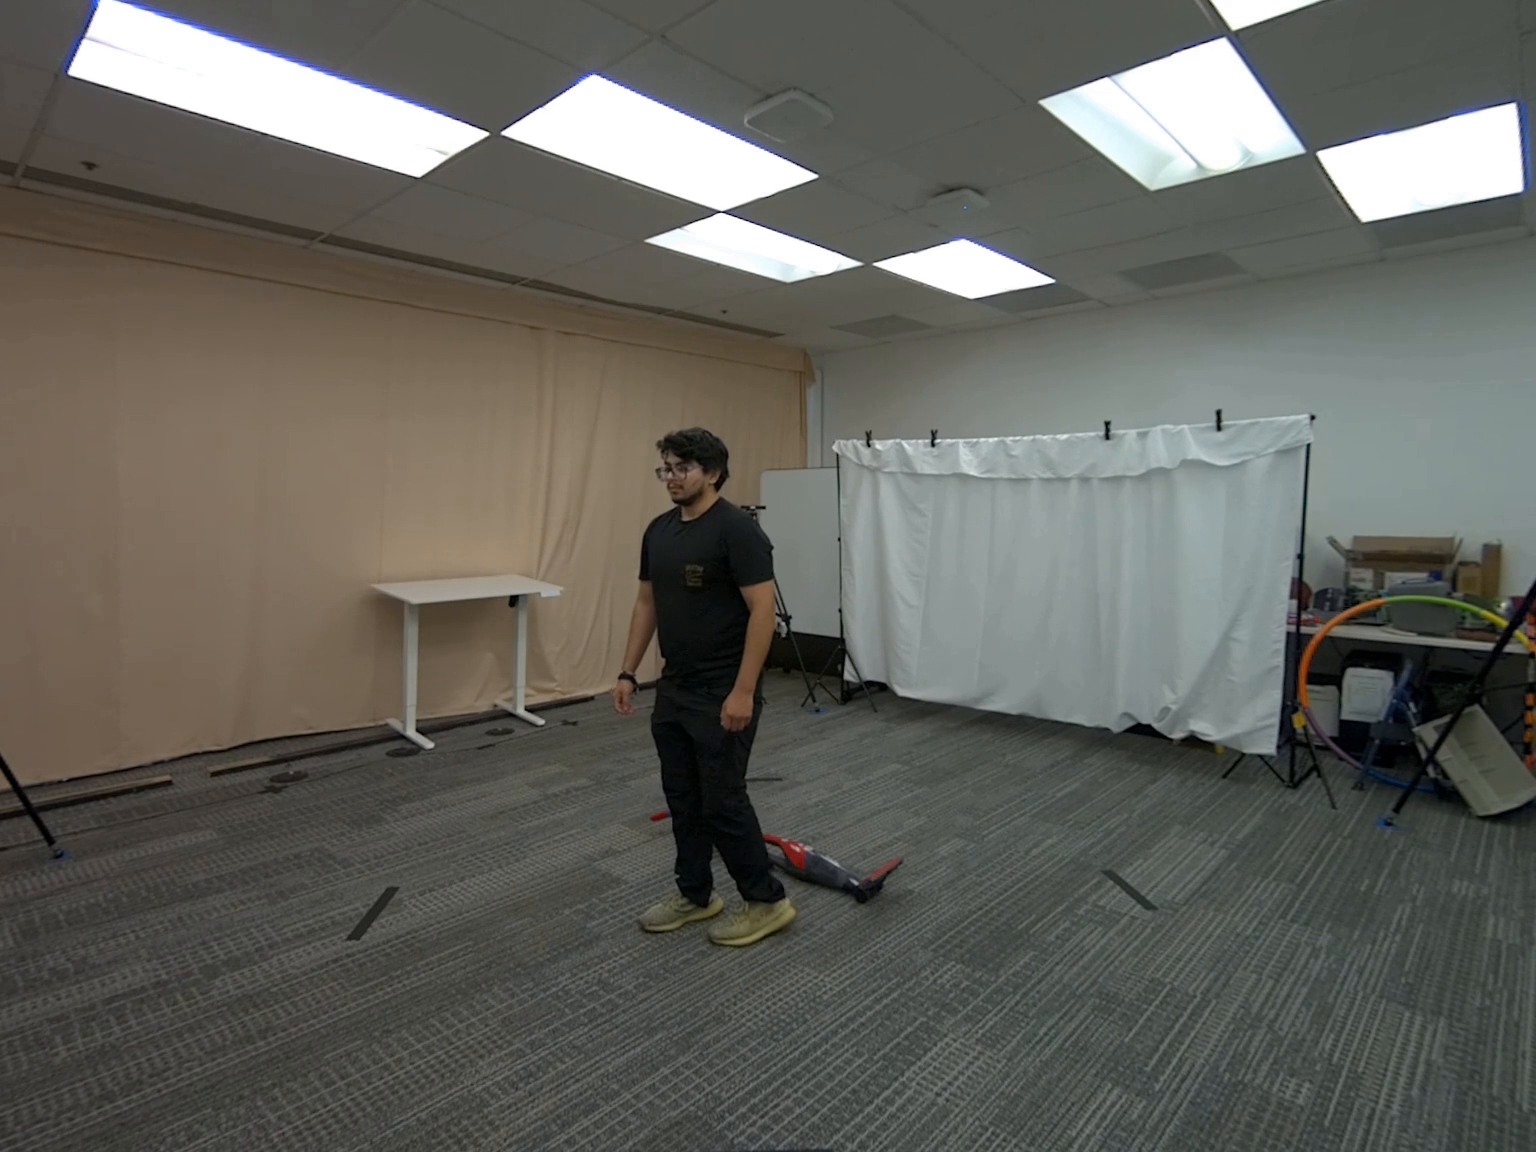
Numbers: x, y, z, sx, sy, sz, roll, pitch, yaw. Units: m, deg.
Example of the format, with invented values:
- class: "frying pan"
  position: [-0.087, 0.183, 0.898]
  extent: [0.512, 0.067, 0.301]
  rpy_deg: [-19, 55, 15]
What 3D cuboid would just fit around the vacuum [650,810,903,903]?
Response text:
- class: "vacuum"
  position: [-0.043, 1.061, 3.276]
  extent: [1.082, 0.144, 0.245]
  rpy_deg: [2, 3, 35]
